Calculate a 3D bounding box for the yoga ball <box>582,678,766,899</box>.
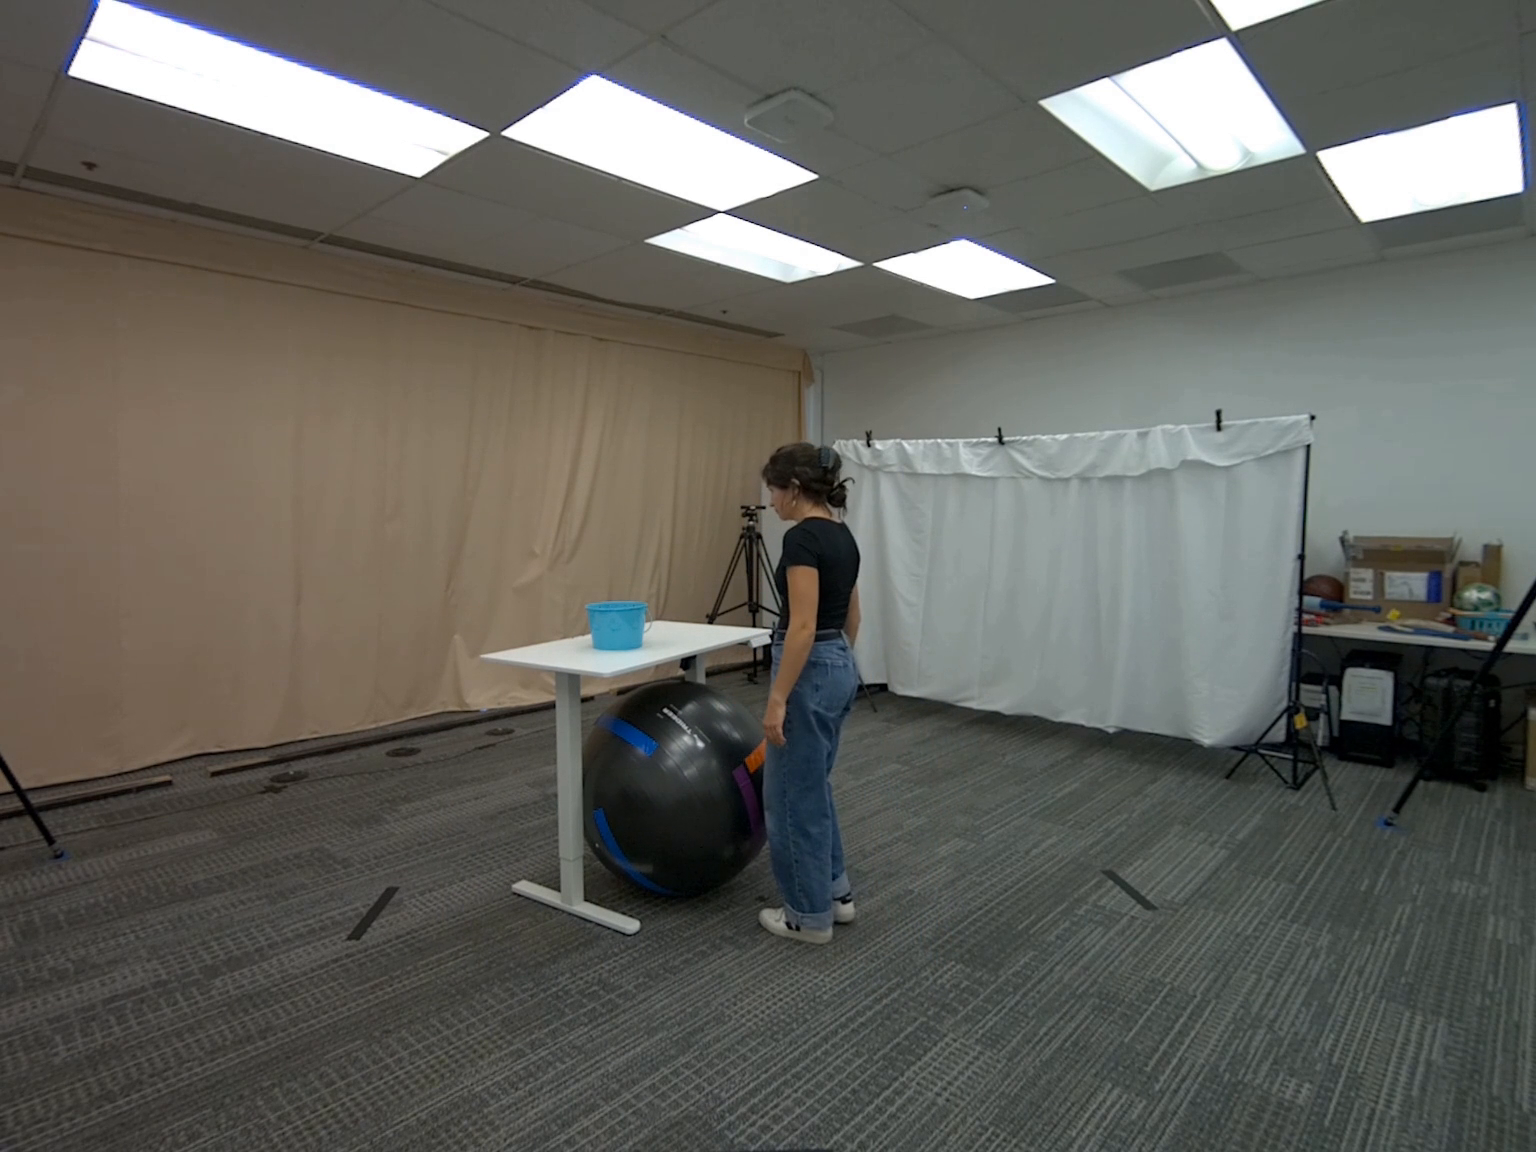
[{"bbox_3d":[-0.337,0.775,3.101,0.757,0.756,0.760,0,4,-2],"label":"yoga ball"}]
